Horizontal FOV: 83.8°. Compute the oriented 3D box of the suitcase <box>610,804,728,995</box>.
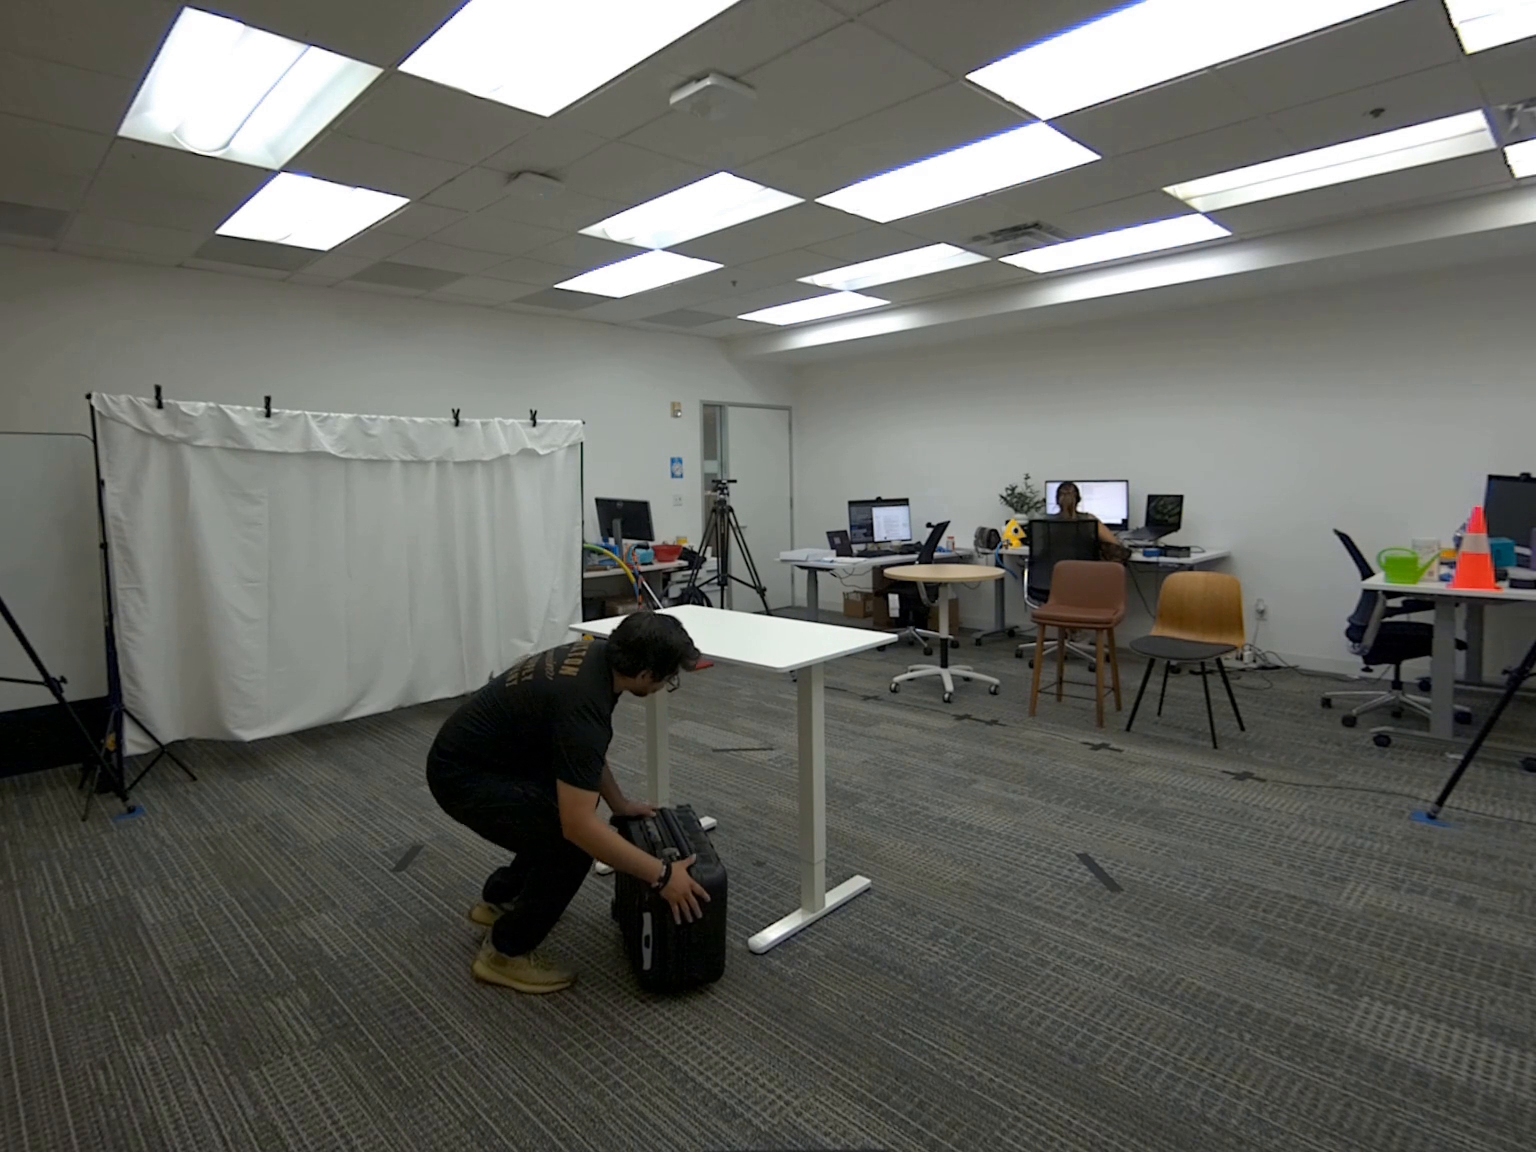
[{"bbox_3d":[-0.293,0.926,2.528,0.244,0.374,0.560,1,5,-19],"label":"suitcase"}]
